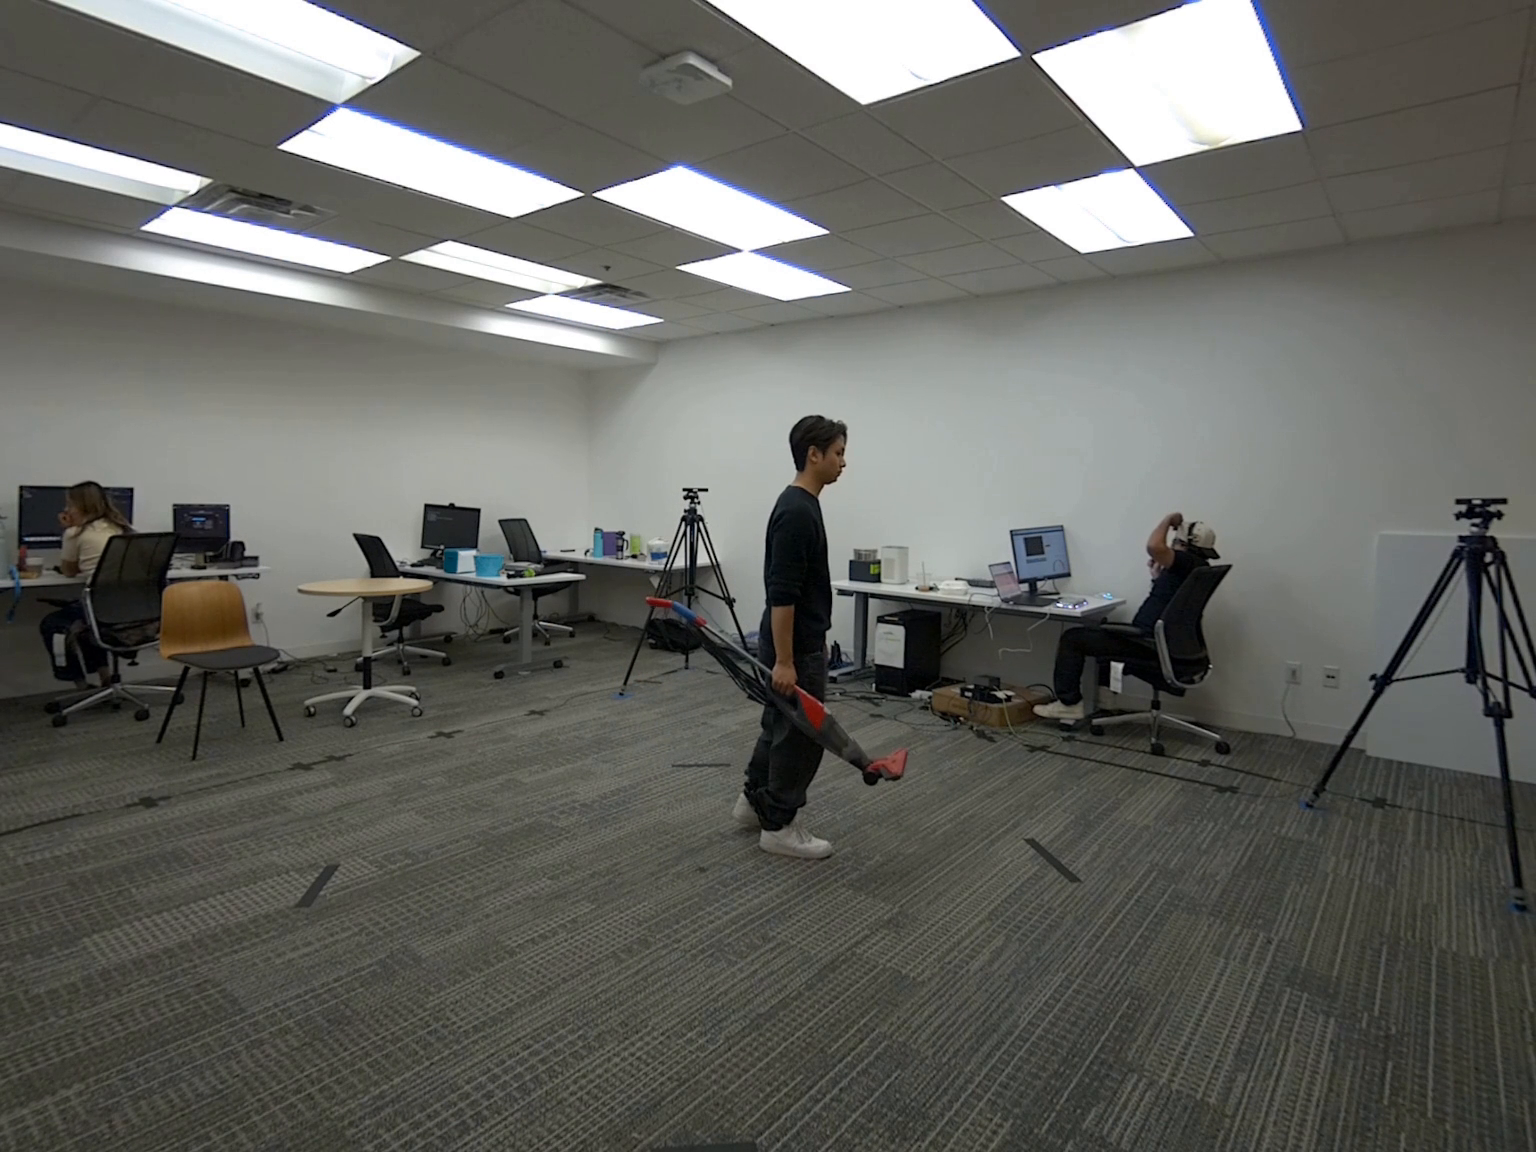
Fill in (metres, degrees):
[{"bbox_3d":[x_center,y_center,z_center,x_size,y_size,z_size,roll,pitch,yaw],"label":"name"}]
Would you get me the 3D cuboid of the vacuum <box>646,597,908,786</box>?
[{"bbox_3d":[-0.008,0.385,3.063,1.064,0.143,0.250,35,12,9],"label":"vacuum"}]
